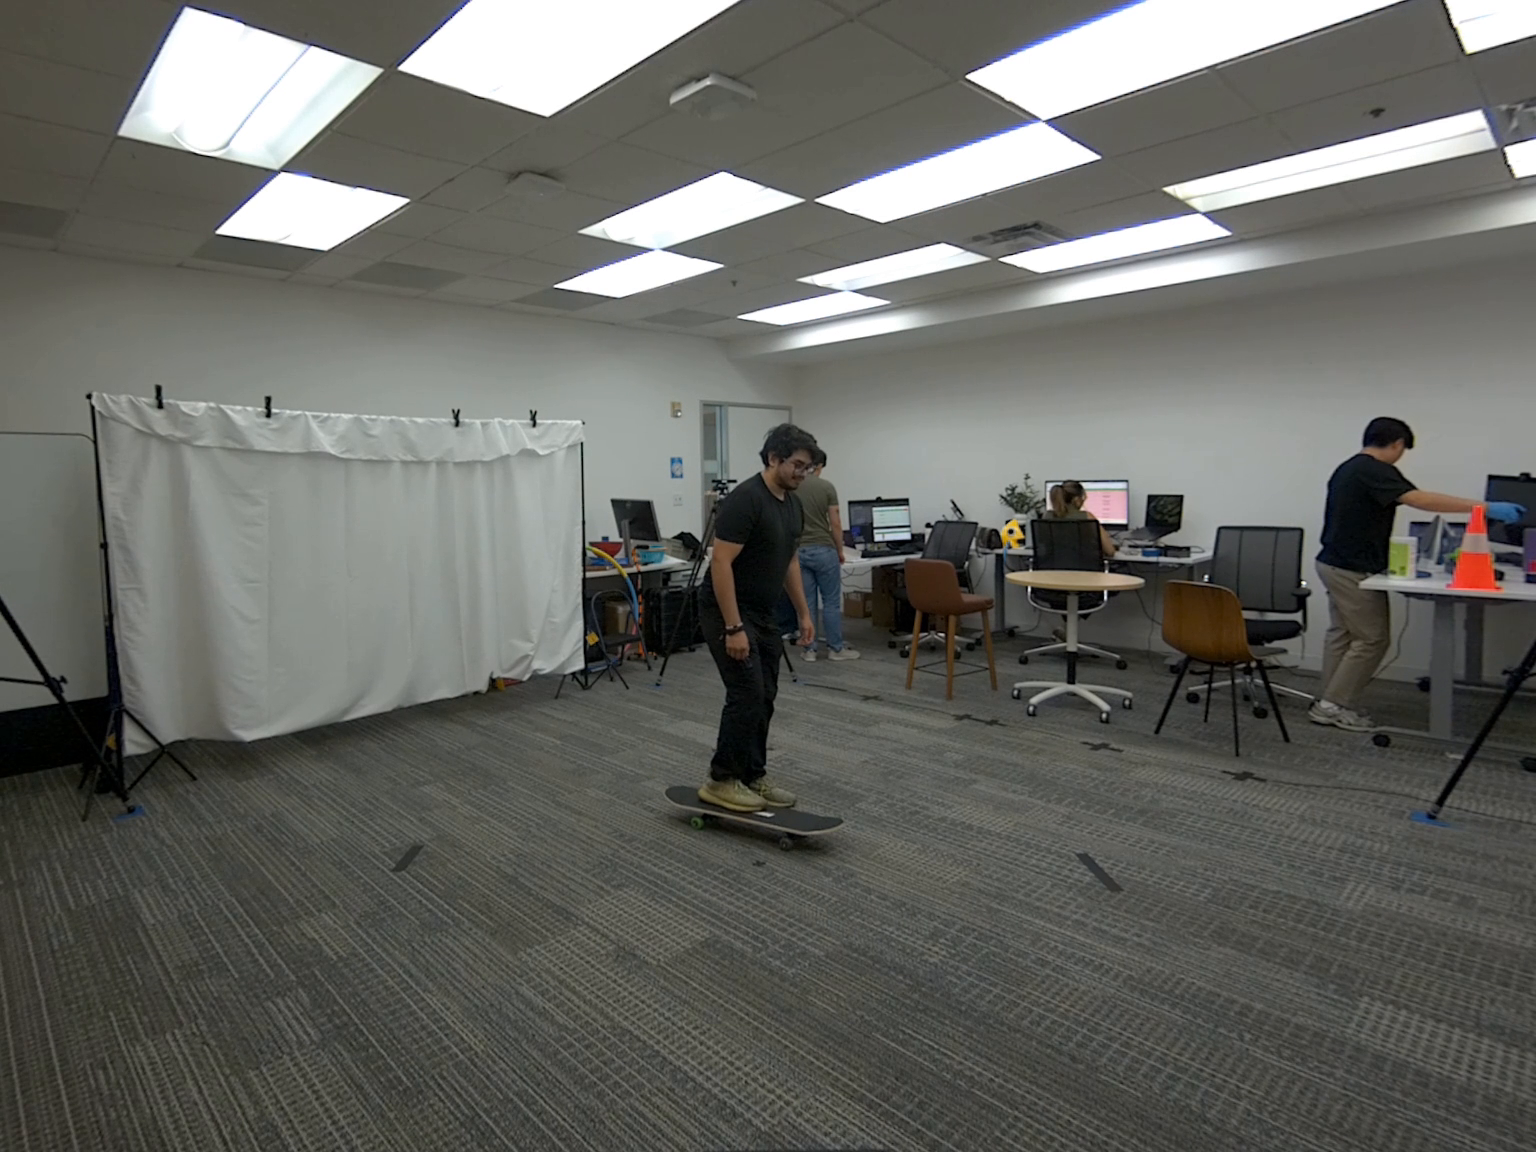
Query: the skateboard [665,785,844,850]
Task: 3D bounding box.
[{"bbox_3d":[-0.069,0.961,3.398,0.806,0.110,0.189,3,5,31],"label":"skateboard"}]
